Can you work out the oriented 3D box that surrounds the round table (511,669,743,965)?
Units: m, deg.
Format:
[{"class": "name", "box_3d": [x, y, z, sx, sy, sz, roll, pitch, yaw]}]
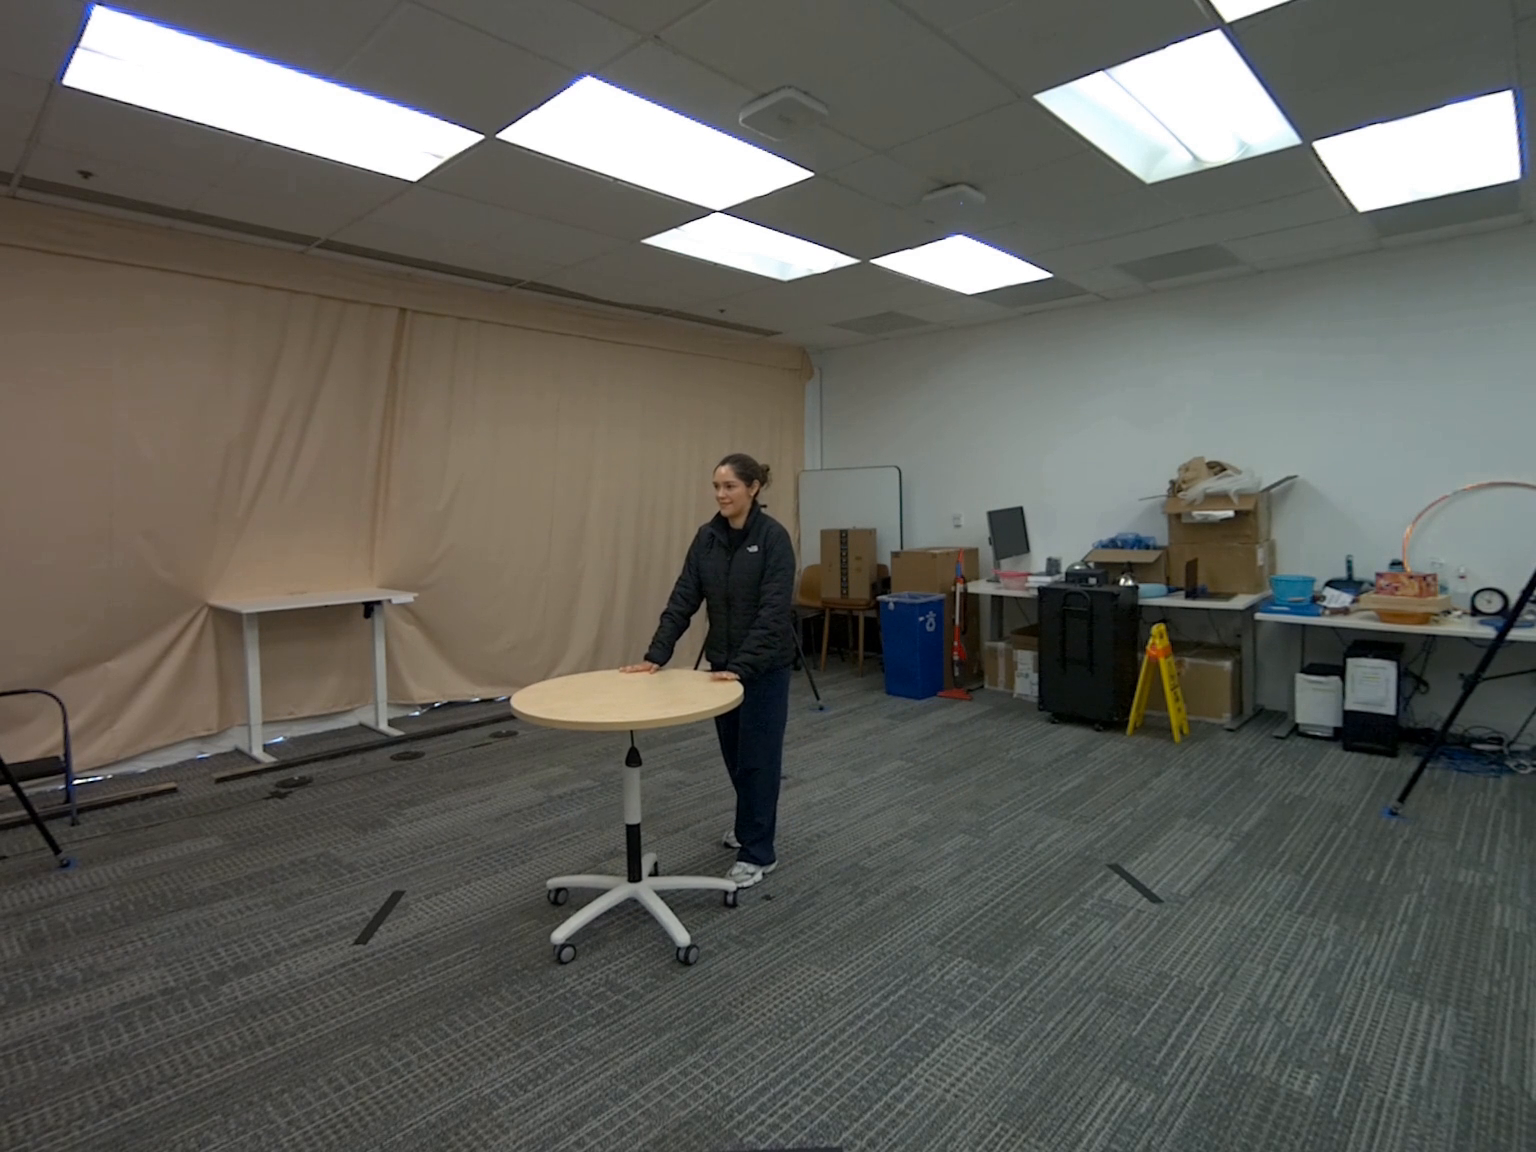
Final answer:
[{"class": "round table", "box_3d": [-0.435, 0.769, 2.830, 0.784, 0.784, 0.788, -2, 4, -2]}]
